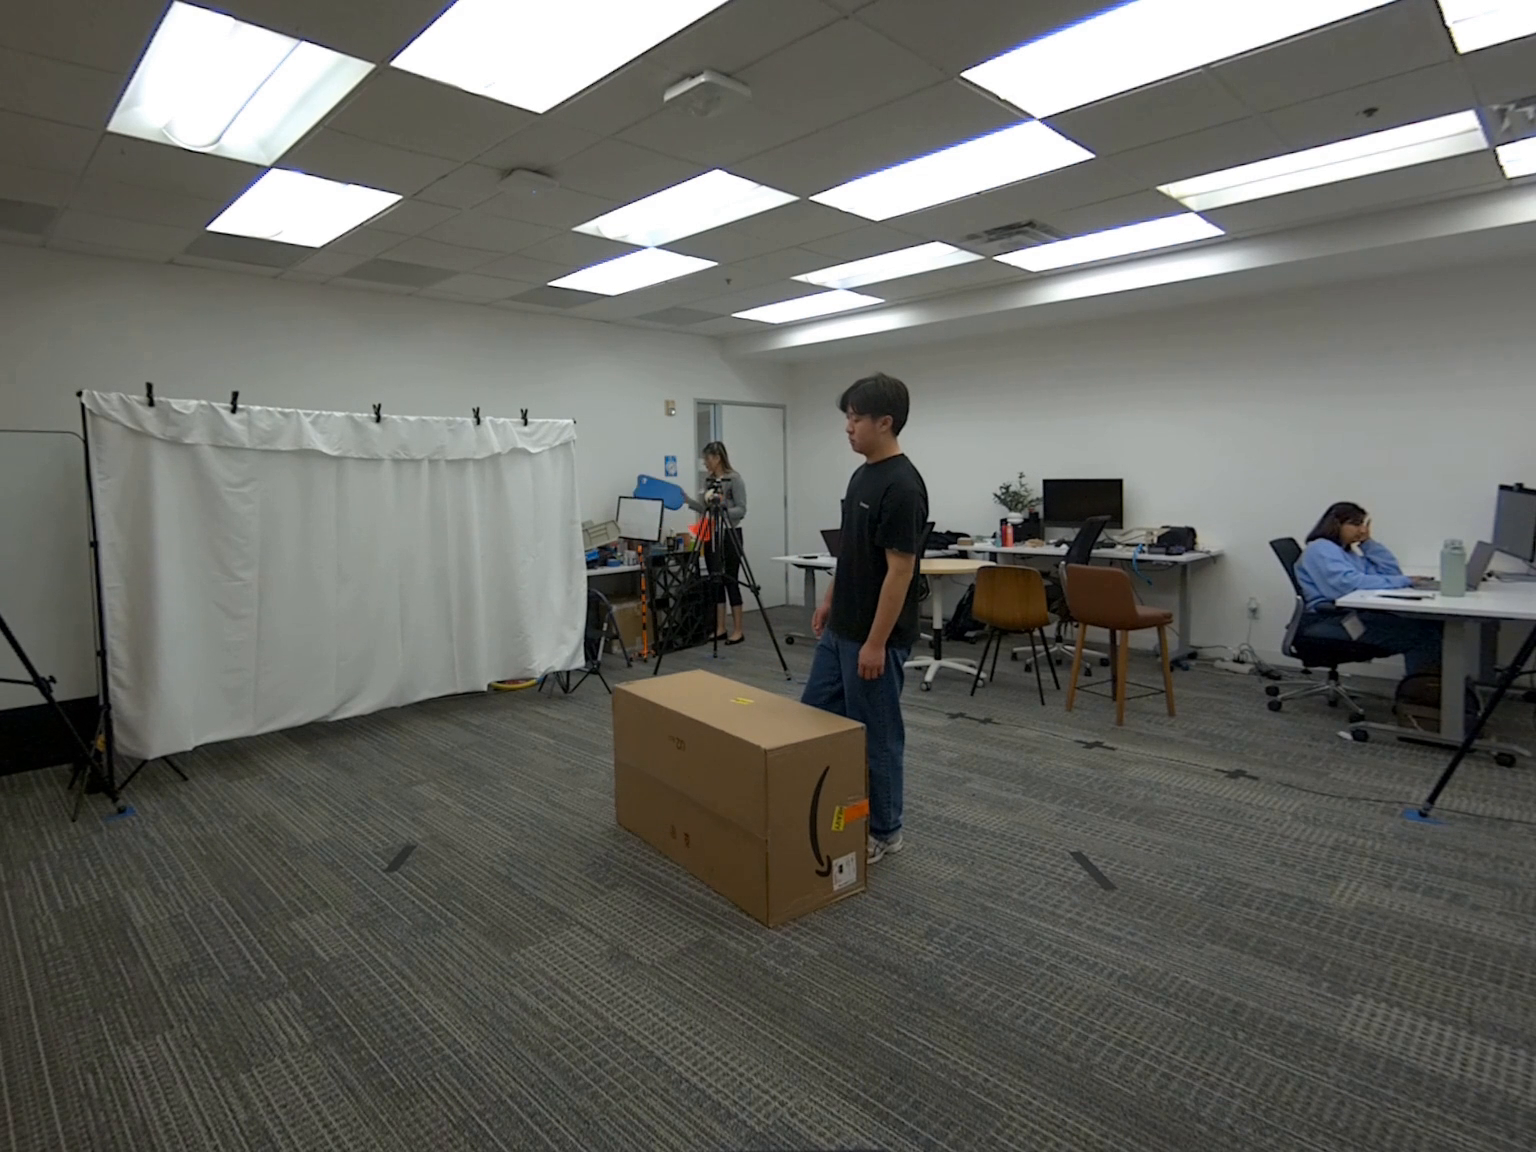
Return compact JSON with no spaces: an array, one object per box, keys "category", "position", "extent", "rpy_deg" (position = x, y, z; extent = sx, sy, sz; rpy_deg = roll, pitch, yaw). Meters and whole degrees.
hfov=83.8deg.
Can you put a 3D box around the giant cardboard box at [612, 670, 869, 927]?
[{"category":"giant cardboard box","position":[-0.148,0.753,3.163],"extent":[0.435,0.582,1.058],"rpy_deg":[-3,6,-36]}]
